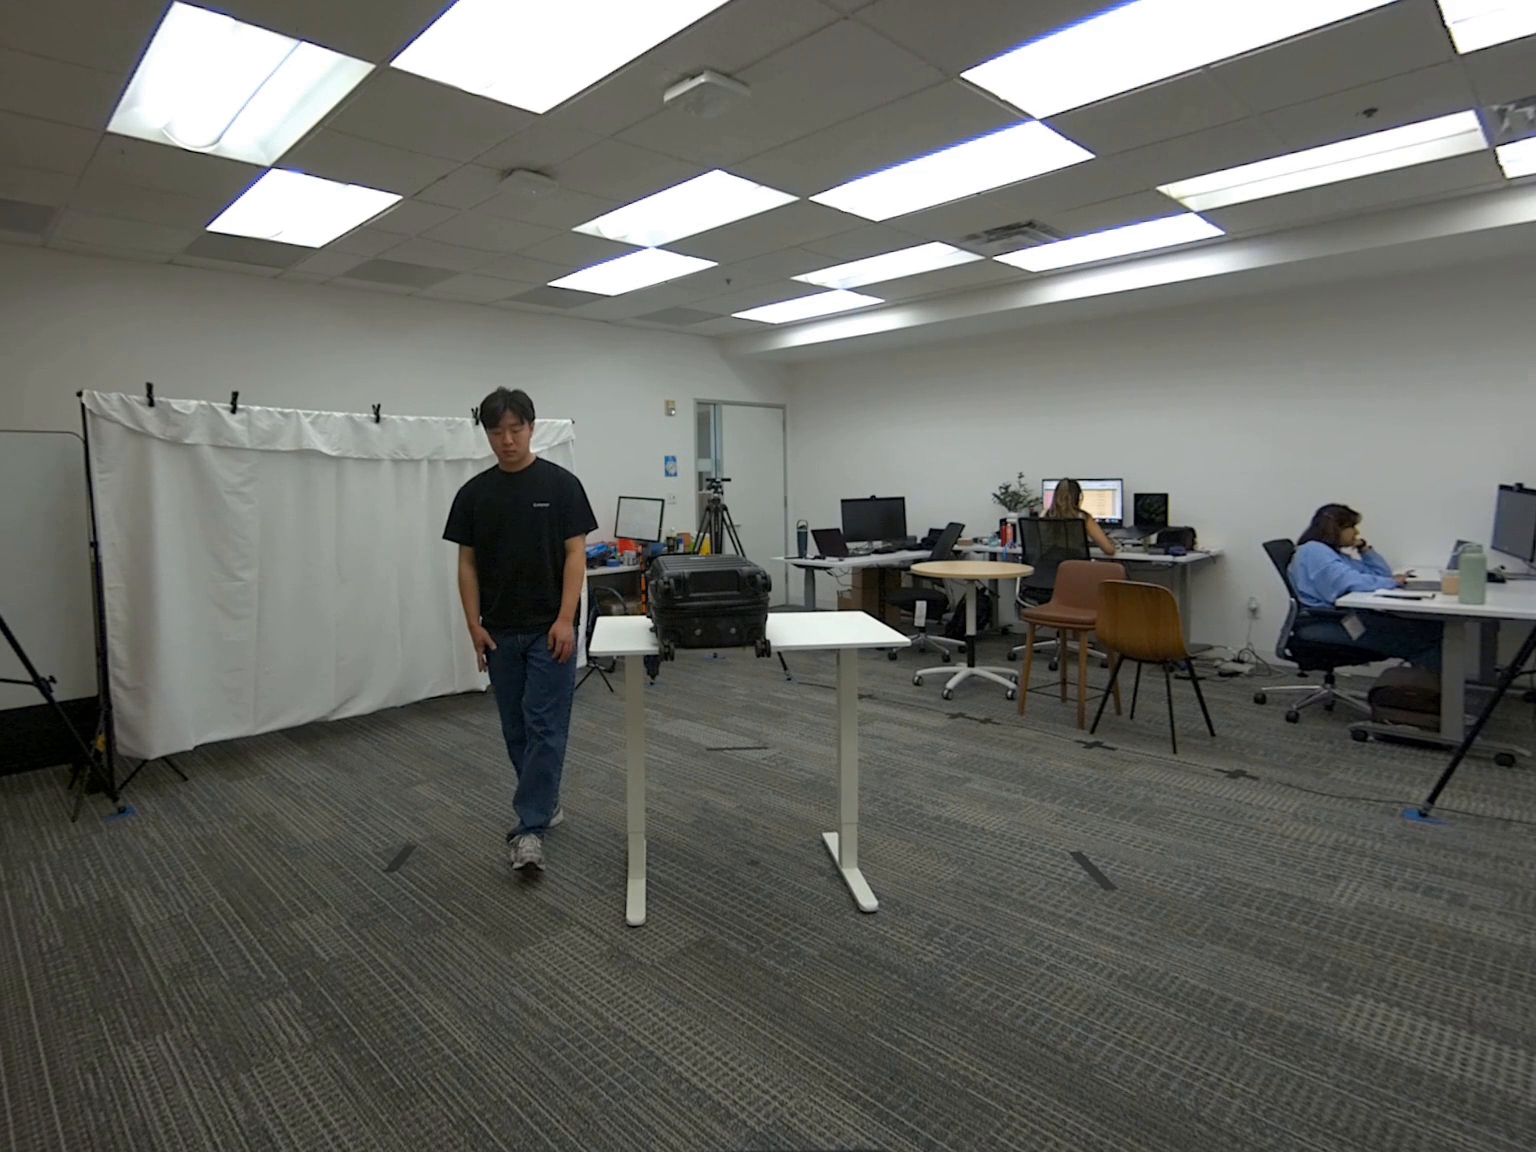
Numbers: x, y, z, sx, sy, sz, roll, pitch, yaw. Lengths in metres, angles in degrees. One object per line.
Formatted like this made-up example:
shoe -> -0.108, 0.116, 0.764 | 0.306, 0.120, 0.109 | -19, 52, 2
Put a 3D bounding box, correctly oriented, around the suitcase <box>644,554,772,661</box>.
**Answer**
suitcase -> -0.244, 0.052, 2.994 | 0.380, 0.255, 0.994 | -2, 9, -11
